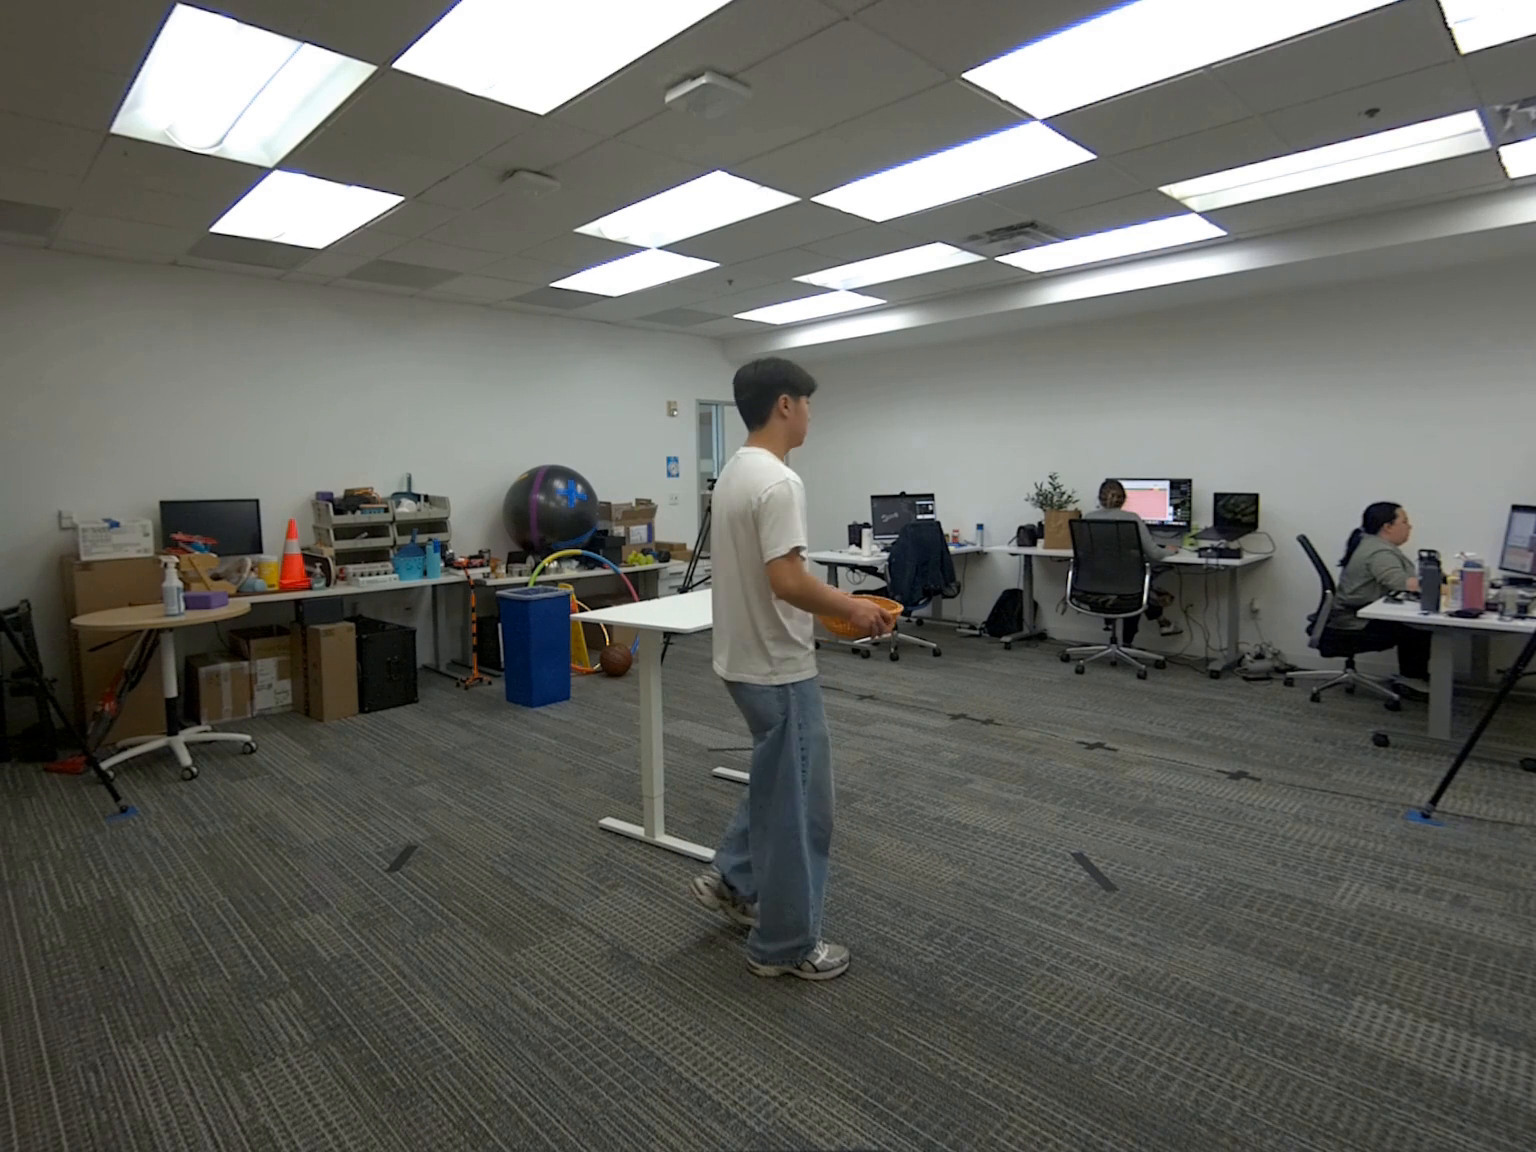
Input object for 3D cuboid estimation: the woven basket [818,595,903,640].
[{"bbox_3d":[0.239,0.123,2.556,0.250,0.073,0.356,-4,8,-12],"label":"woven basket"}]
